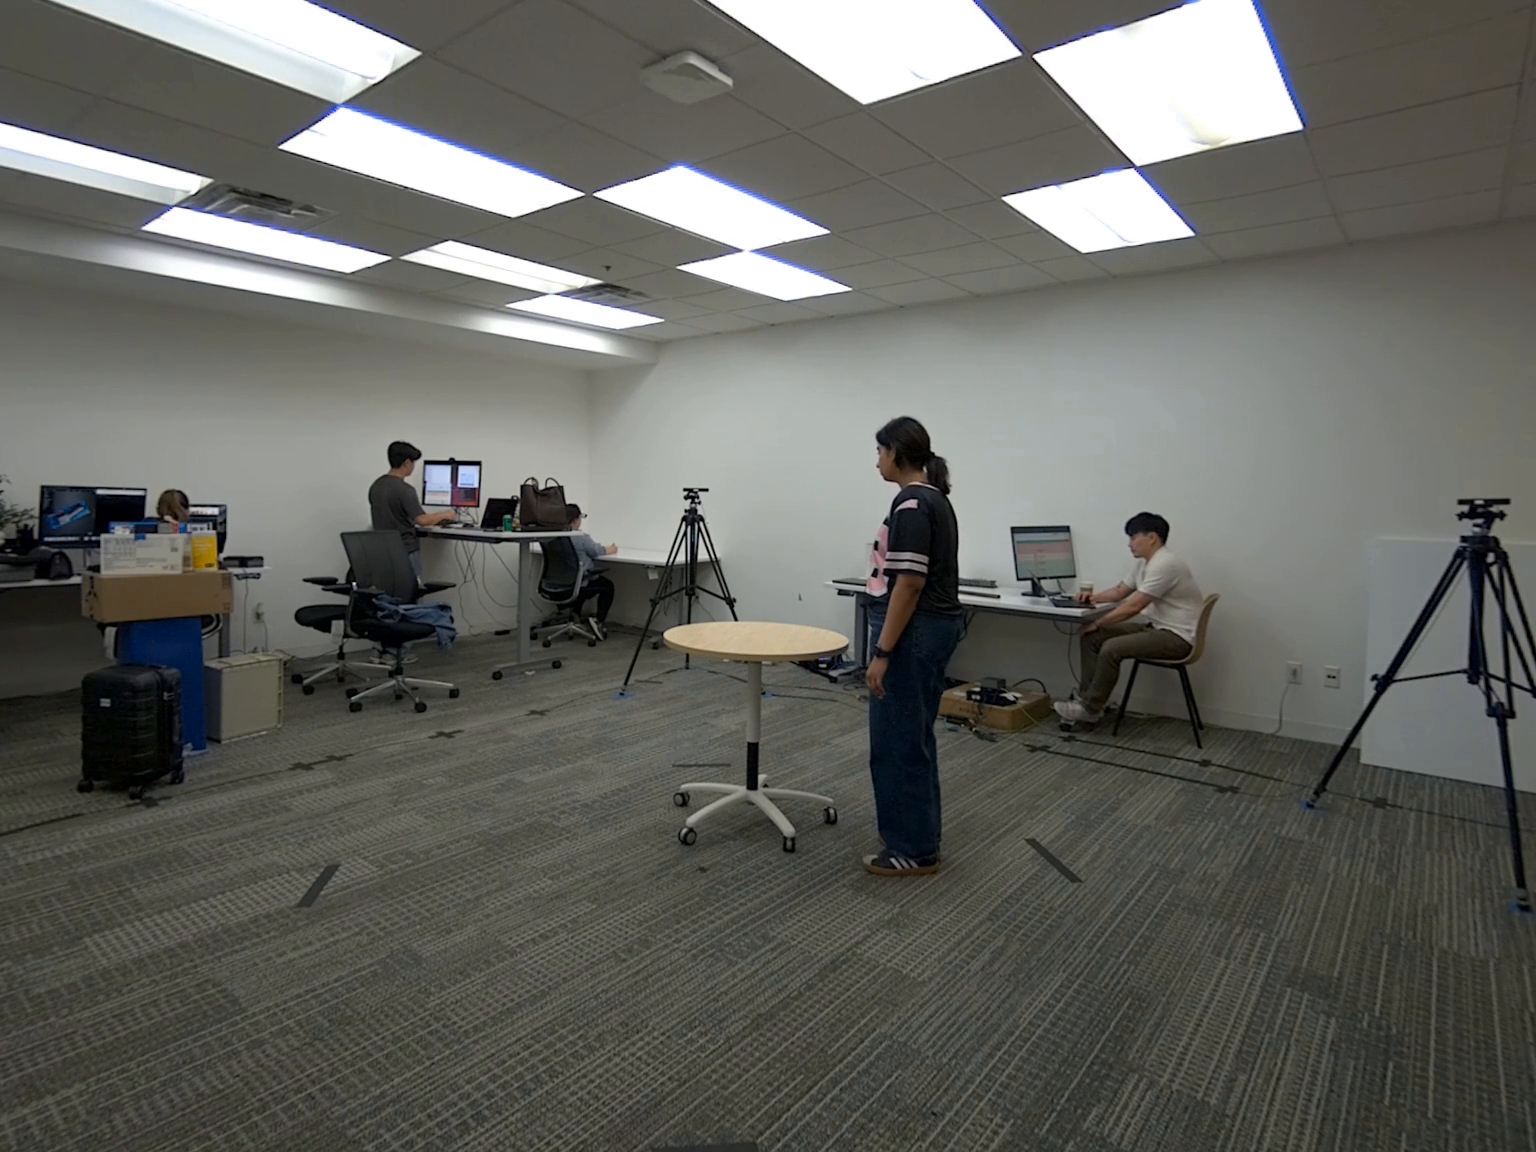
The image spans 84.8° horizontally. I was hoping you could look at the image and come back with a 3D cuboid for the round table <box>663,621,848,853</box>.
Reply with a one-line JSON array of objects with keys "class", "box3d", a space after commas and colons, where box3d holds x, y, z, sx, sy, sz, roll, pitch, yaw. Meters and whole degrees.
[{"class": "round table", "box3d": [-0.077, 0.642, 3.556, 0.763, 0.791, 0.768, 1, 4, -2]}]
